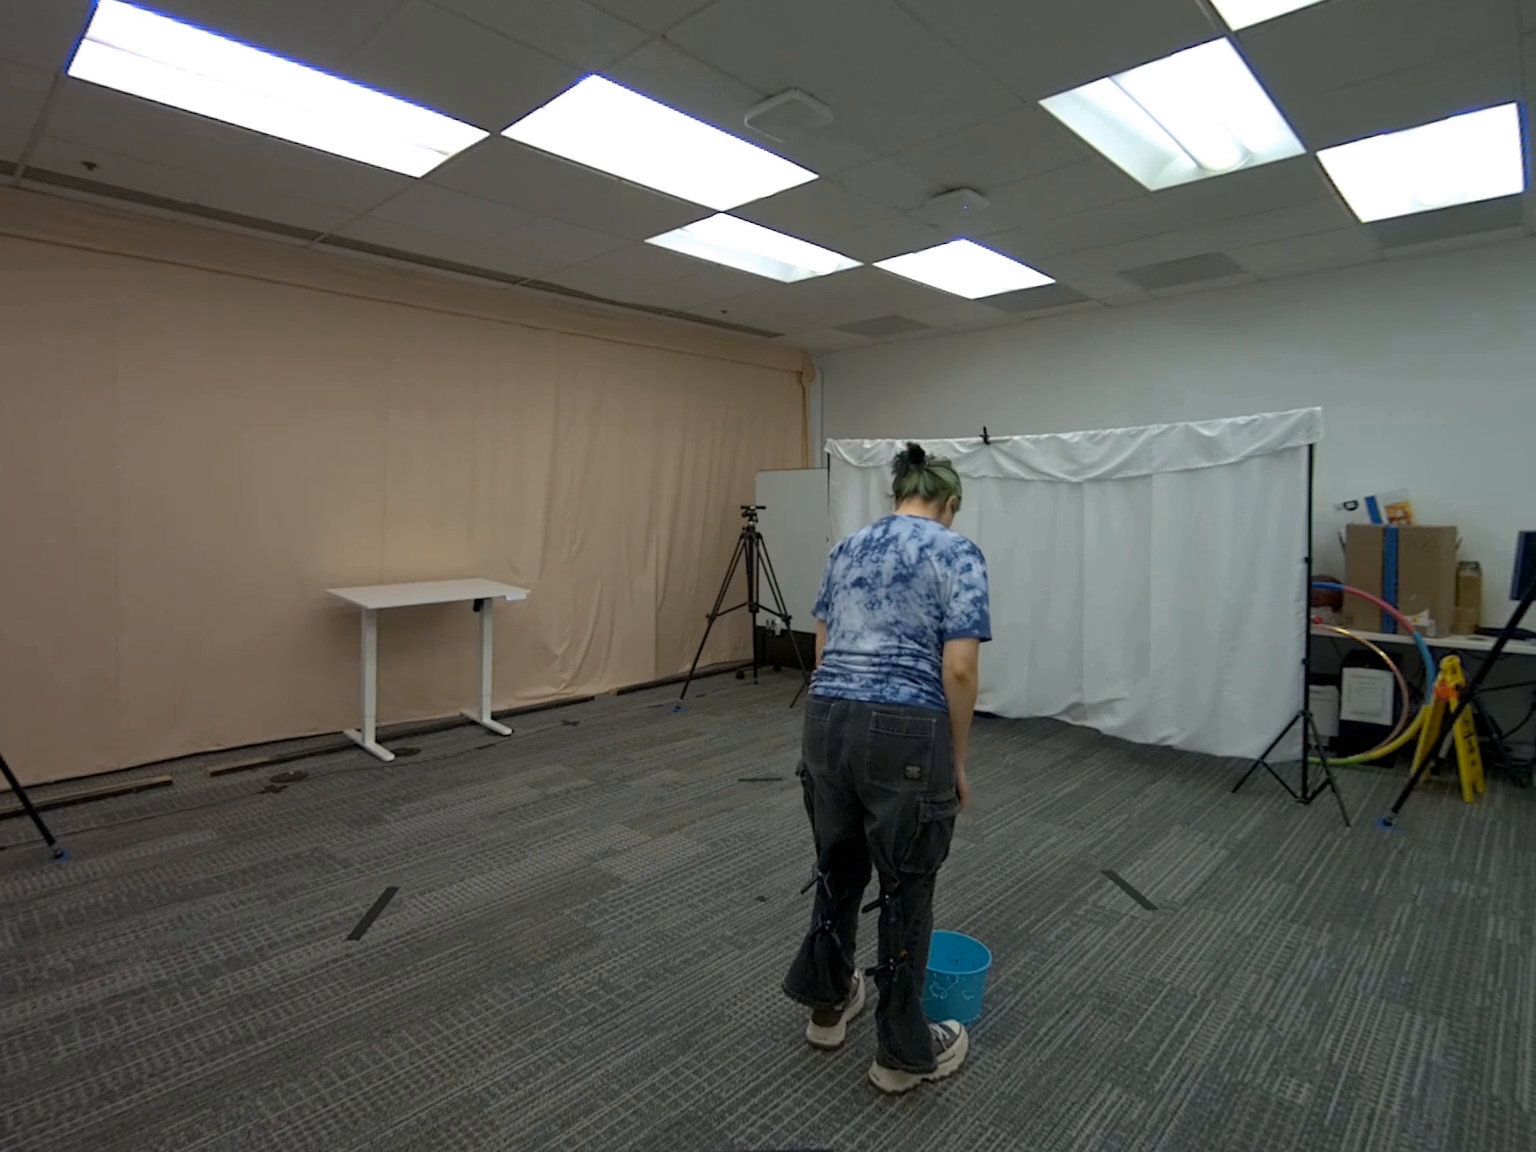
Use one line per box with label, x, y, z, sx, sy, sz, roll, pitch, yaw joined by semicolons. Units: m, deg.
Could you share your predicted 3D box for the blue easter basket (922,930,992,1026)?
blue easter basket;0.504;1.122;2.346;0.243;0.155;0.244;0;4;-2
